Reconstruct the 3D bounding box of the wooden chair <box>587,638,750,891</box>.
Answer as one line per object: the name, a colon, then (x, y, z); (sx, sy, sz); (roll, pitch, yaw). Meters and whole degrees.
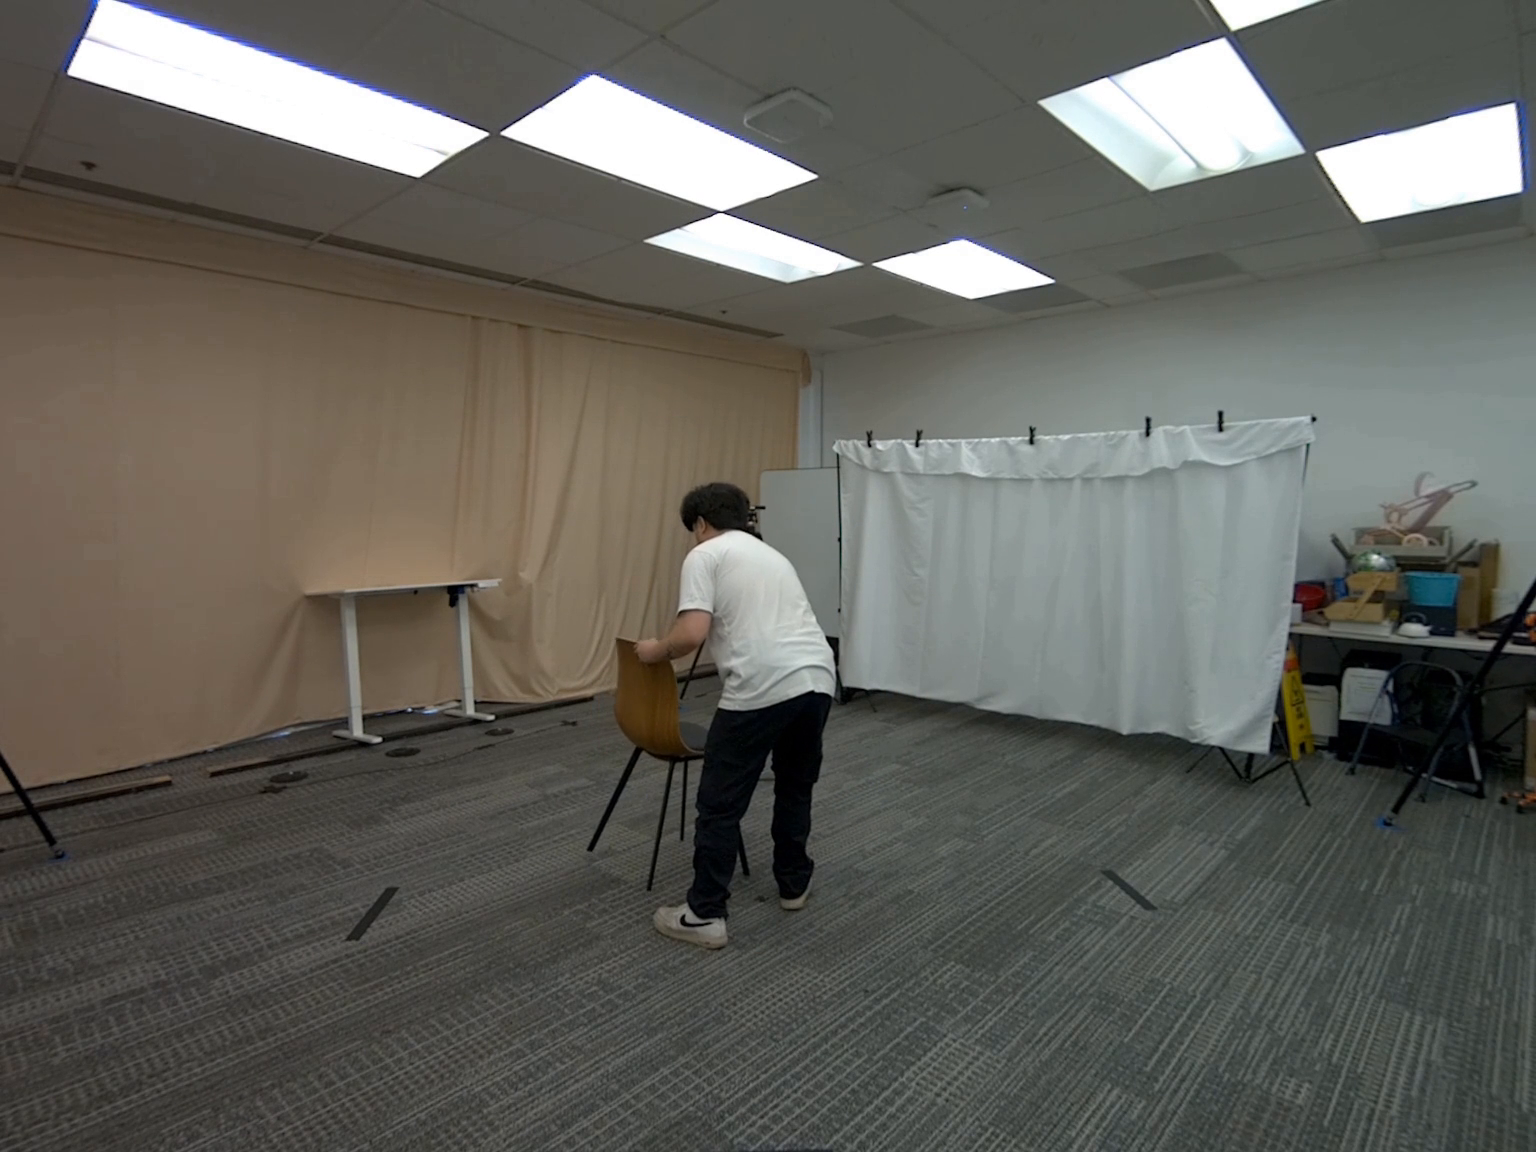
wooden chair: (-0.333, 0.672, 3.231); (0.507, 0.877, 0.493); (2, 0, -39)
